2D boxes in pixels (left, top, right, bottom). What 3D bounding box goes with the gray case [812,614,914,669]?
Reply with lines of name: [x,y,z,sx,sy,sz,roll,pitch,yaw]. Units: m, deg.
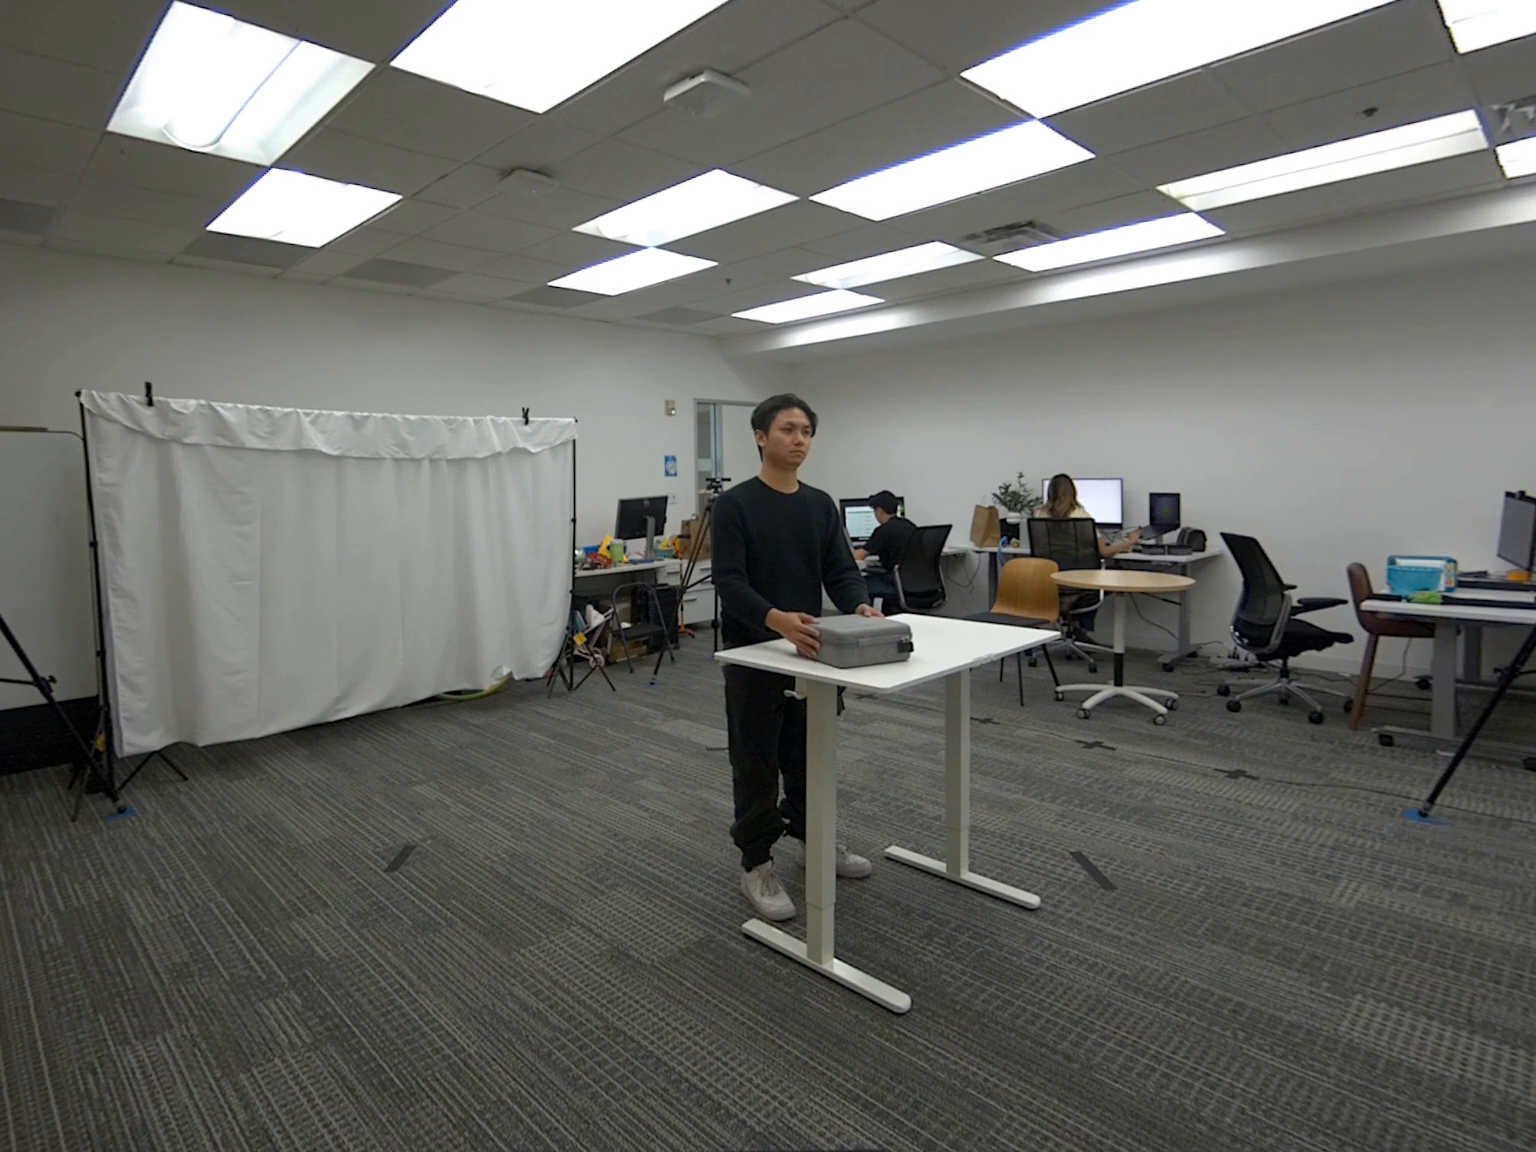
gray case: [0.246,0.183,2.420,0.251,0.104,0.268,-5,7,-30]
